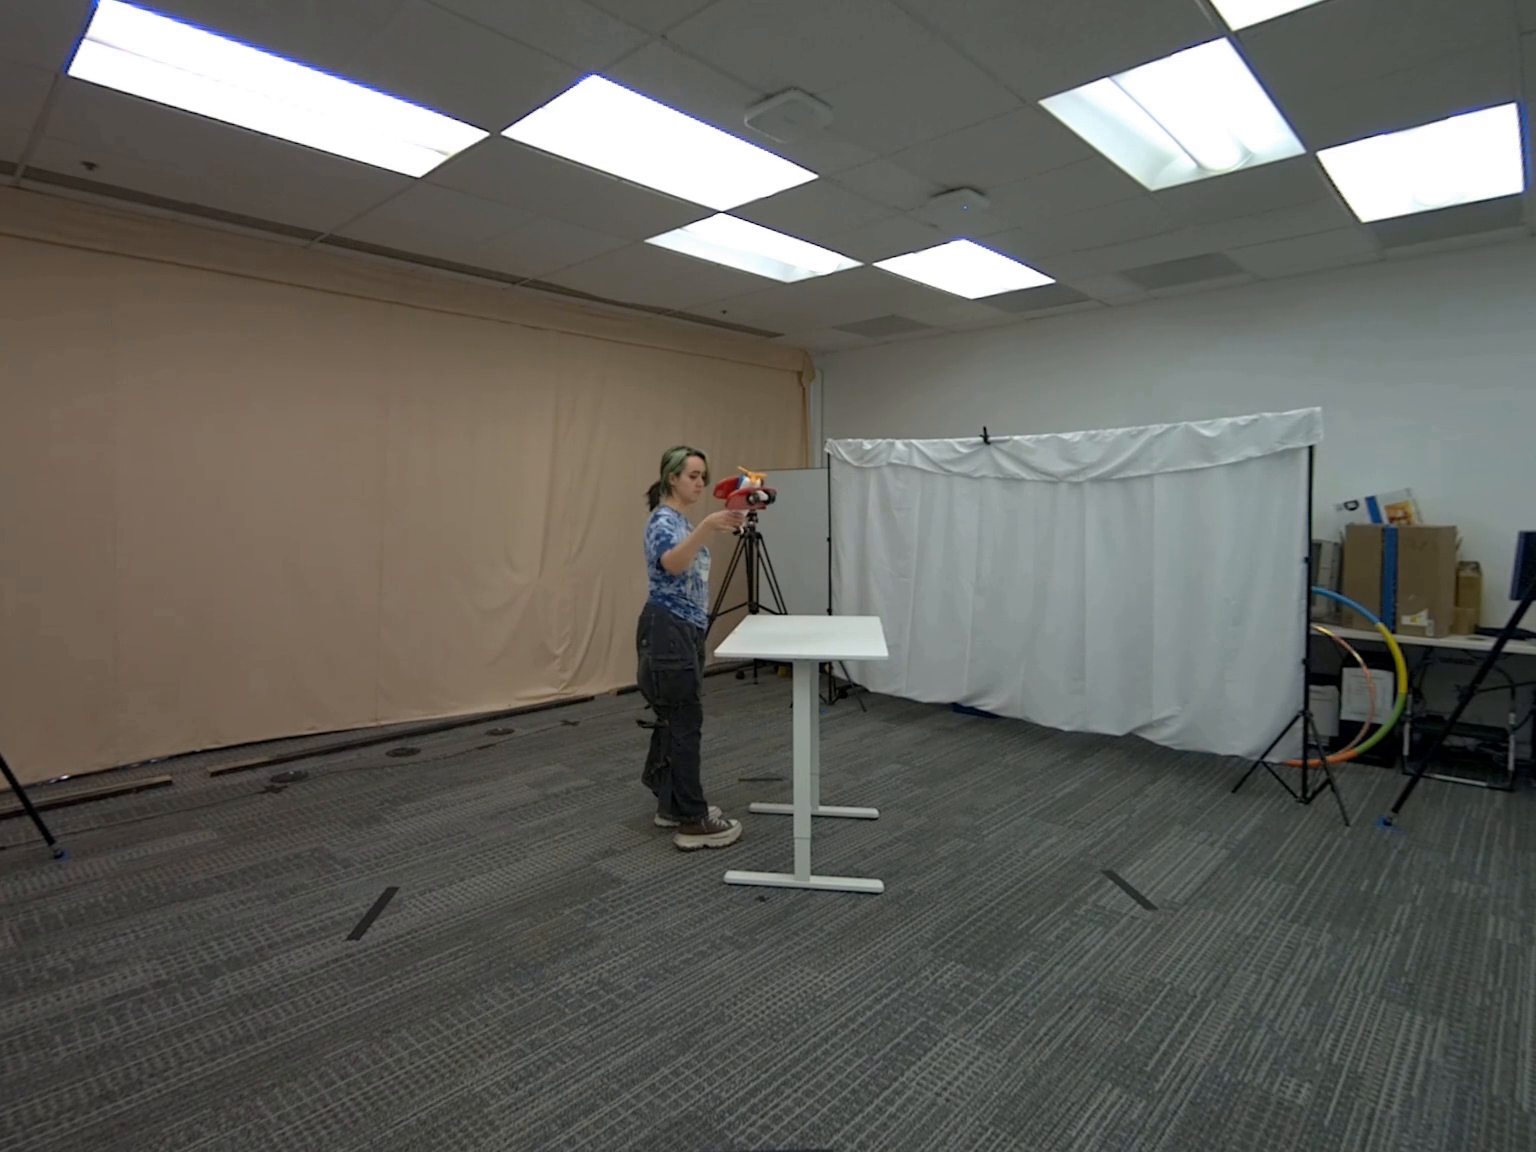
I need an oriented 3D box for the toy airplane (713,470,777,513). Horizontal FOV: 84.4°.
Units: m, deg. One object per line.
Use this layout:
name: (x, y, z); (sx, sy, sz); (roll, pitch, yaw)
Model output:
toy airplane: (-0.103, -0.279, 3.230); (0.261, 0.160, 0.243); (-39, -24, 13)
